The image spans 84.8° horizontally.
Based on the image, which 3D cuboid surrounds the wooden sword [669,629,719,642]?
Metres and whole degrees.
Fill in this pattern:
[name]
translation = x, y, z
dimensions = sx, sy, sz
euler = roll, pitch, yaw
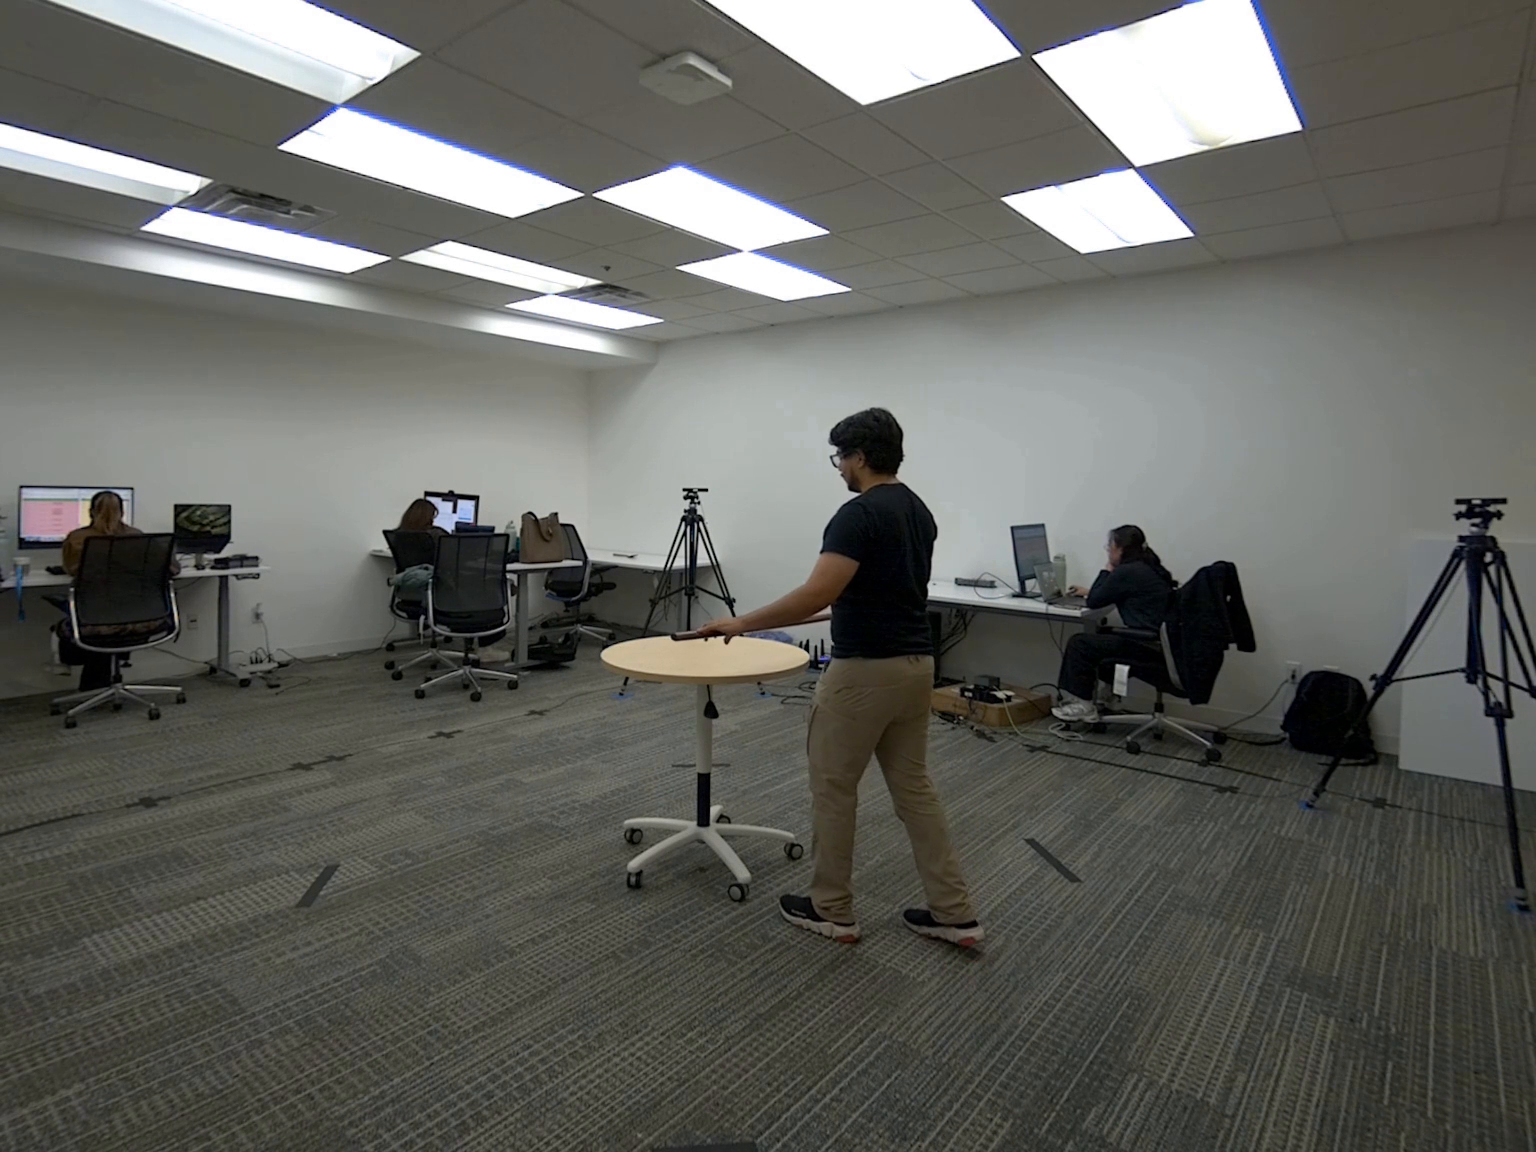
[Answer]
[wooden sword]
translation = -0.030, 0.159, 2.876
dimensions = 0.025, 0.051, 0.993
euler = 38, 25, 33
